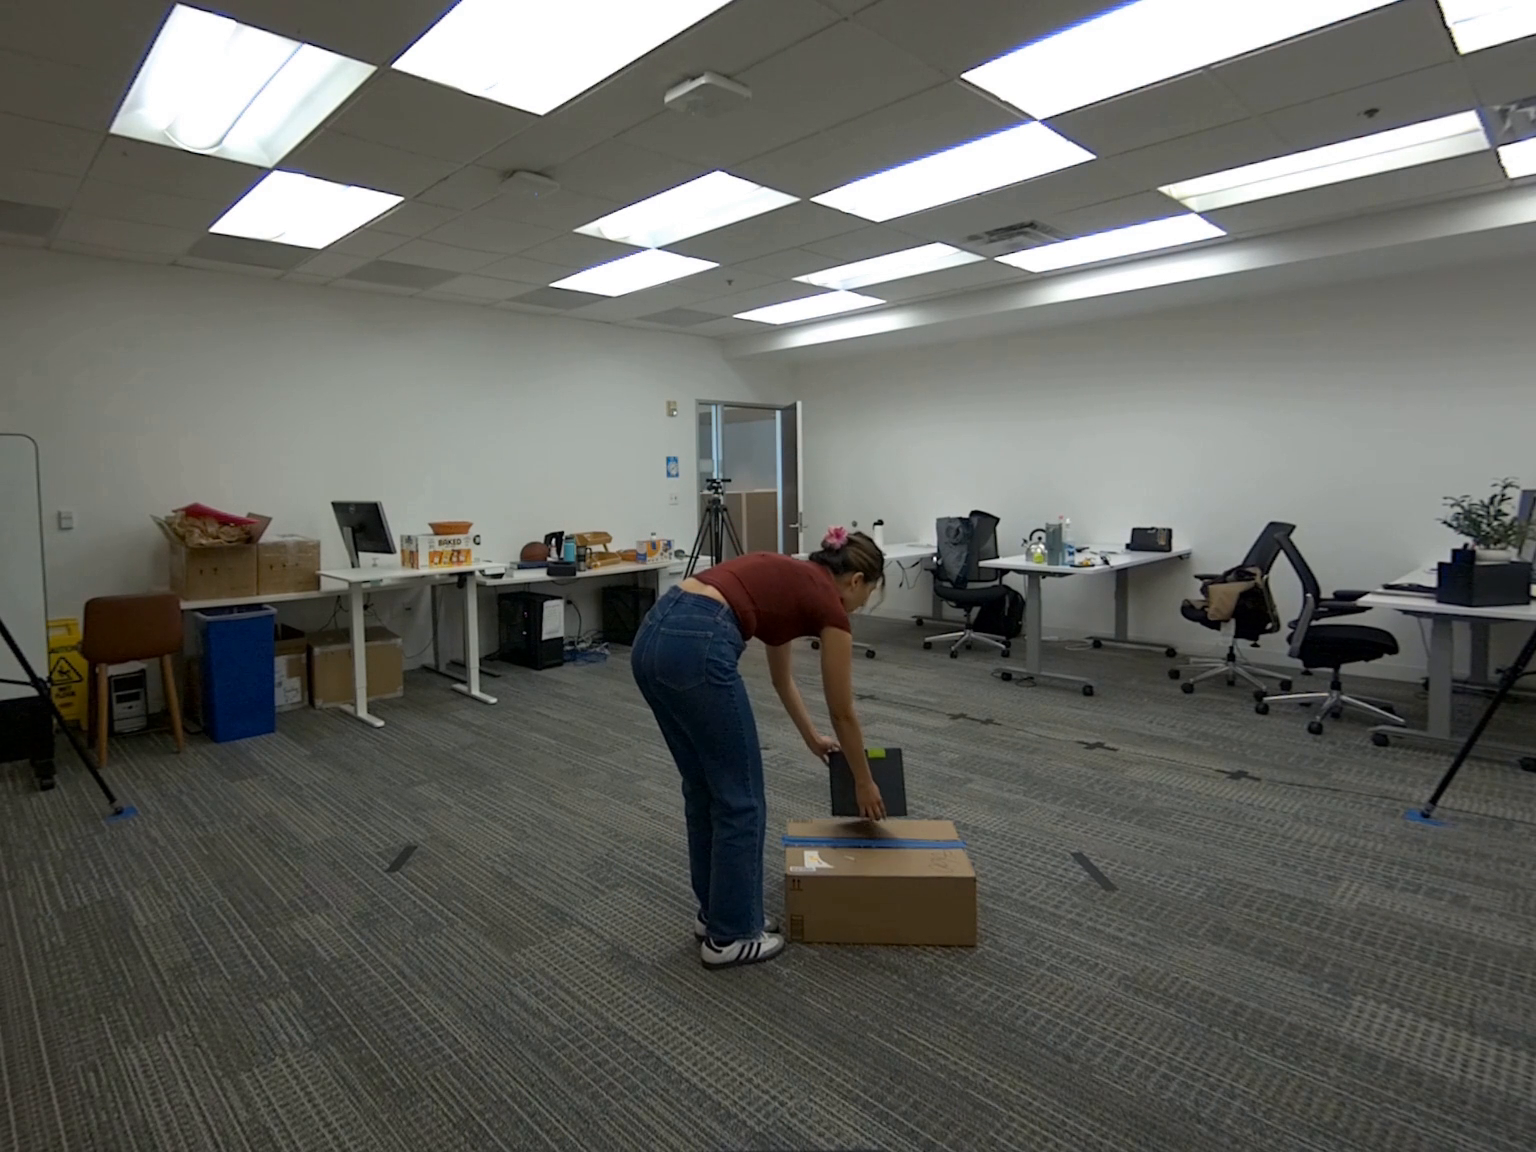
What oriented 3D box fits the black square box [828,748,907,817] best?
[{"bbox_3d":[0.329,0.677,2.861,0.153,0.220,0.229,4,-15,-22],"label":"black square box"}]
